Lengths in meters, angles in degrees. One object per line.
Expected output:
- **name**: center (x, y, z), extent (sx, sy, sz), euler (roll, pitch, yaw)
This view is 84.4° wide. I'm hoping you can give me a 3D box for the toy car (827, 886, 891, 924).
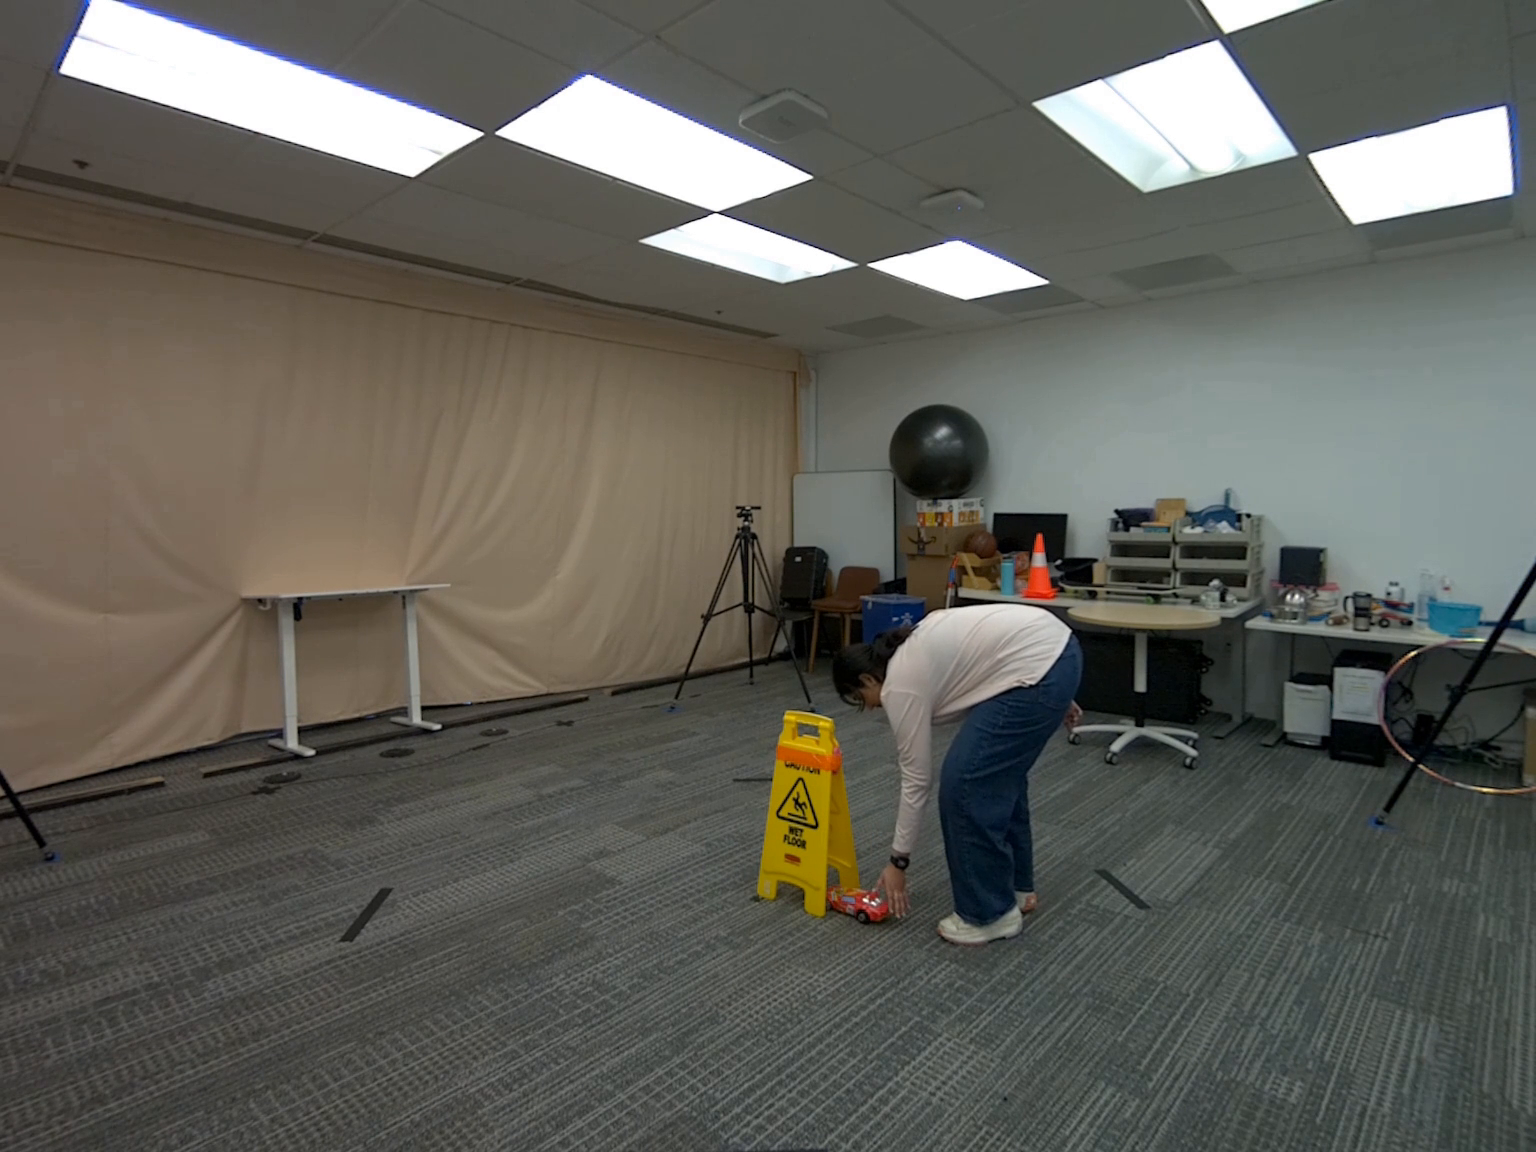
- **toy car**: center (0.313, 1.124, 2.871), extent (0.261, 0.083, 0.126), euler (-13, -6, 39)
